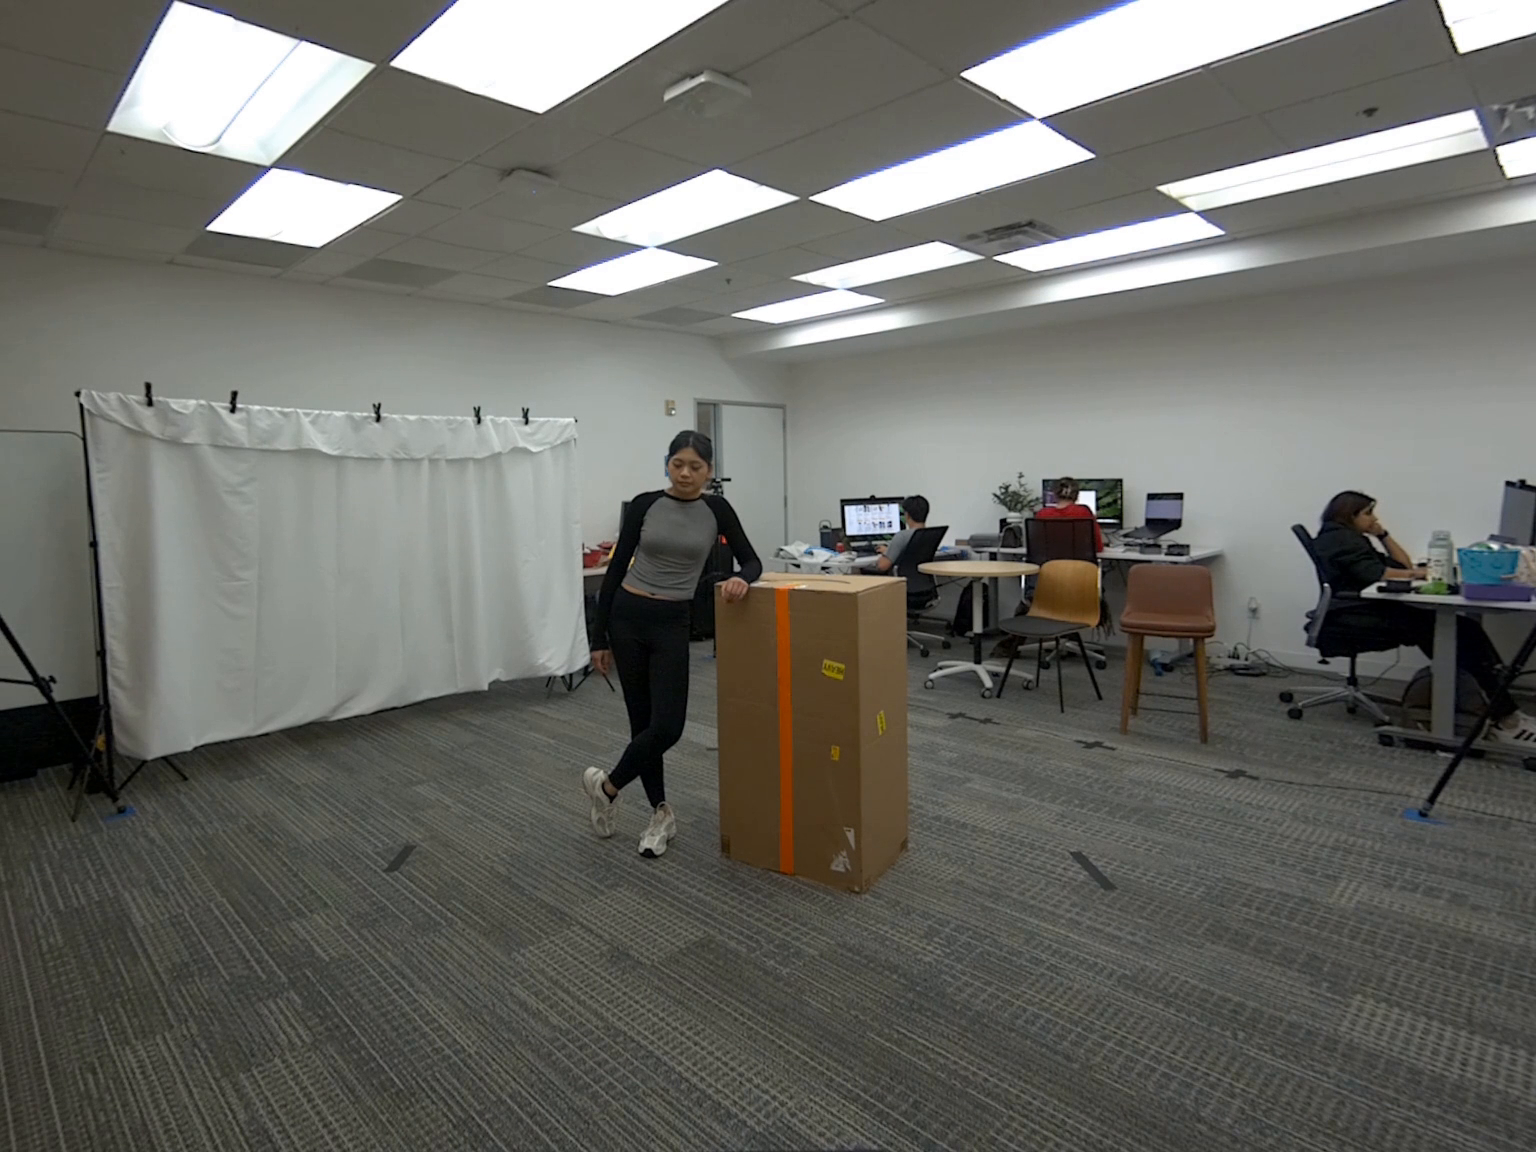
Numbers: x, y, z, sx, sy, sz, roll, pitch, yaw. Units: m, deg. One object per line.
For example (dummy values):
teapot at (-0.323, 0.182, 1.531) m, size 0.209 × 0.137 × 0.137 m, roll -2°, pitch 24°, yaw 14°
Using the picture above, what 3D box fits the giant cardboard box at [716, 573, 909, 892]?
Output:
giant cardboard box at (0.169, 0.525, 3.151) m, size 0.593 × 1.022 × 0.416 m, roll 1°, pitch 4°, yaw 33°
